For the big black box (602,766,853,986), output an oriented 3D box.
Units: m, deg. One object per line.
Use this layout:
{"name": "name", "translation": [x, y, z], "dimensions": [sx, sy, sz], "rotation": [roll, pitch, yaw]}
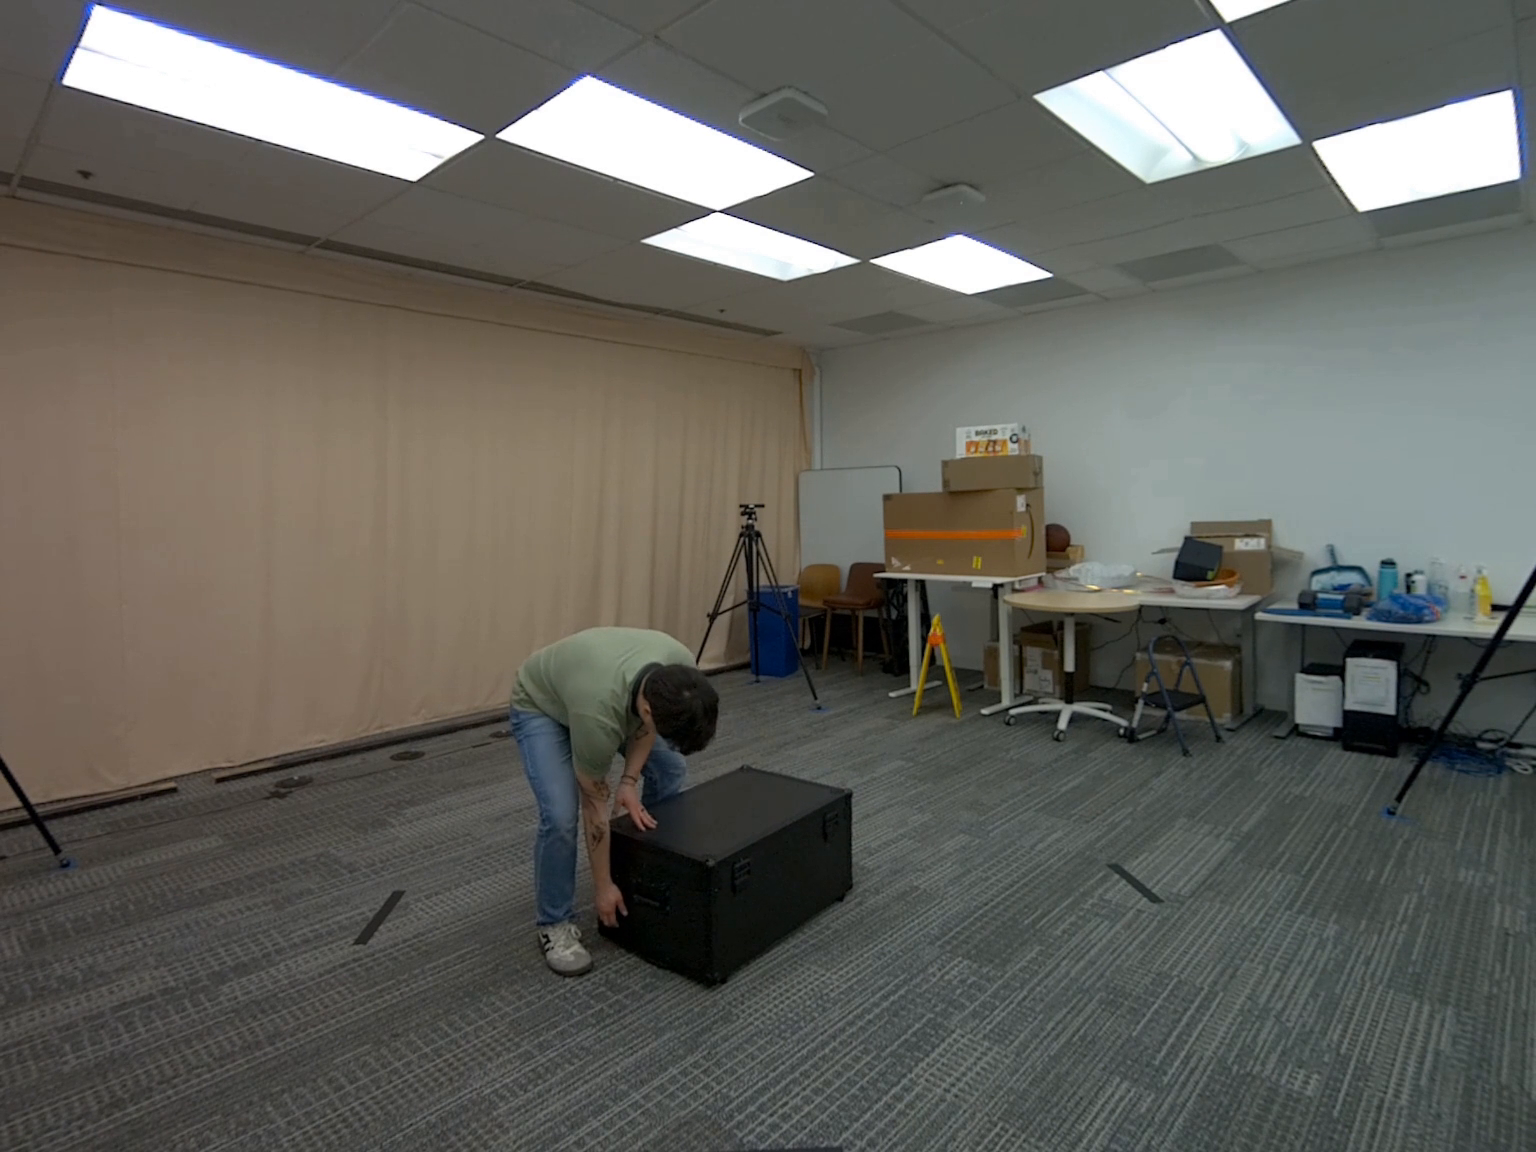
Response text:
{"name": "big black box", "translation": [-0.093, 0.960, 2.859], "dimensions": [0.538, 0.395, 0.837], "rotation": [2, 6, 37]}
